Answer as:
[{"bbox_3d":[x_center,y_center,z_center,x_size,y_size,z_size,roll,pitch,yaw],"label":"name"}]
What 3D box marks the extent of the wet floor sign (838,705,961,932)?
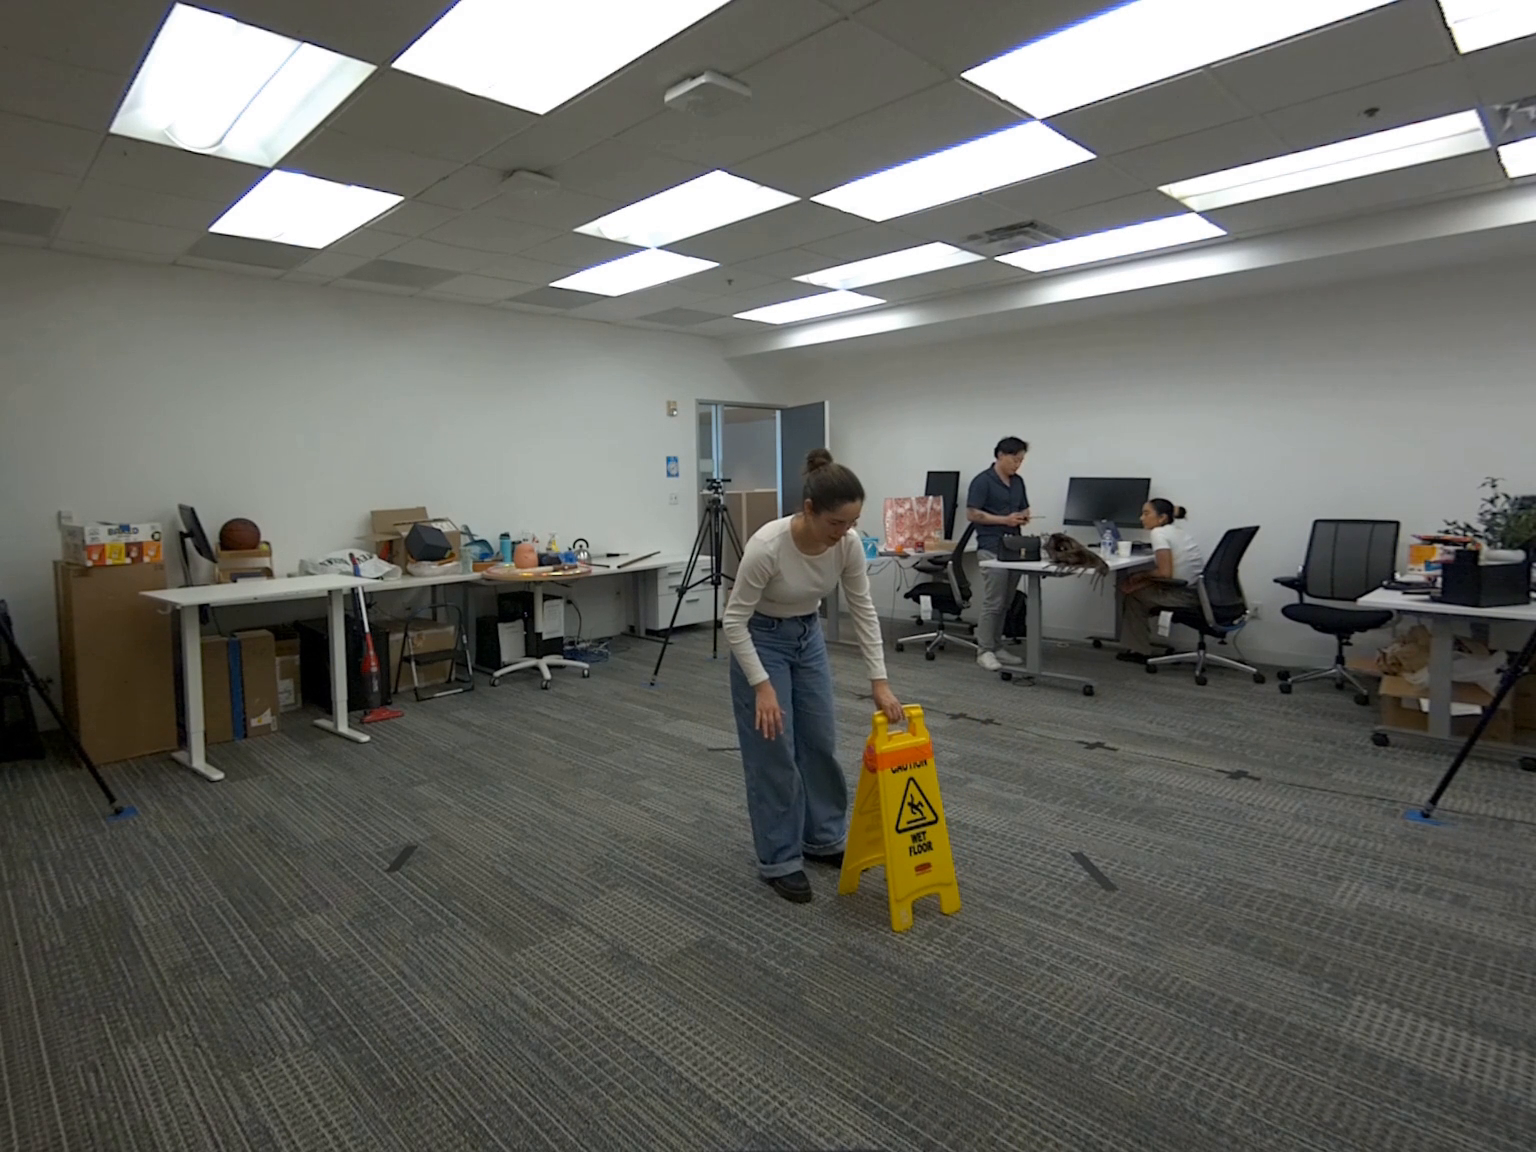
[{"bbox_3d":[0.425,0.748,2.785,0.275,0.644,0.298,-2,4,-31],"label":"wet floor sign"}]
